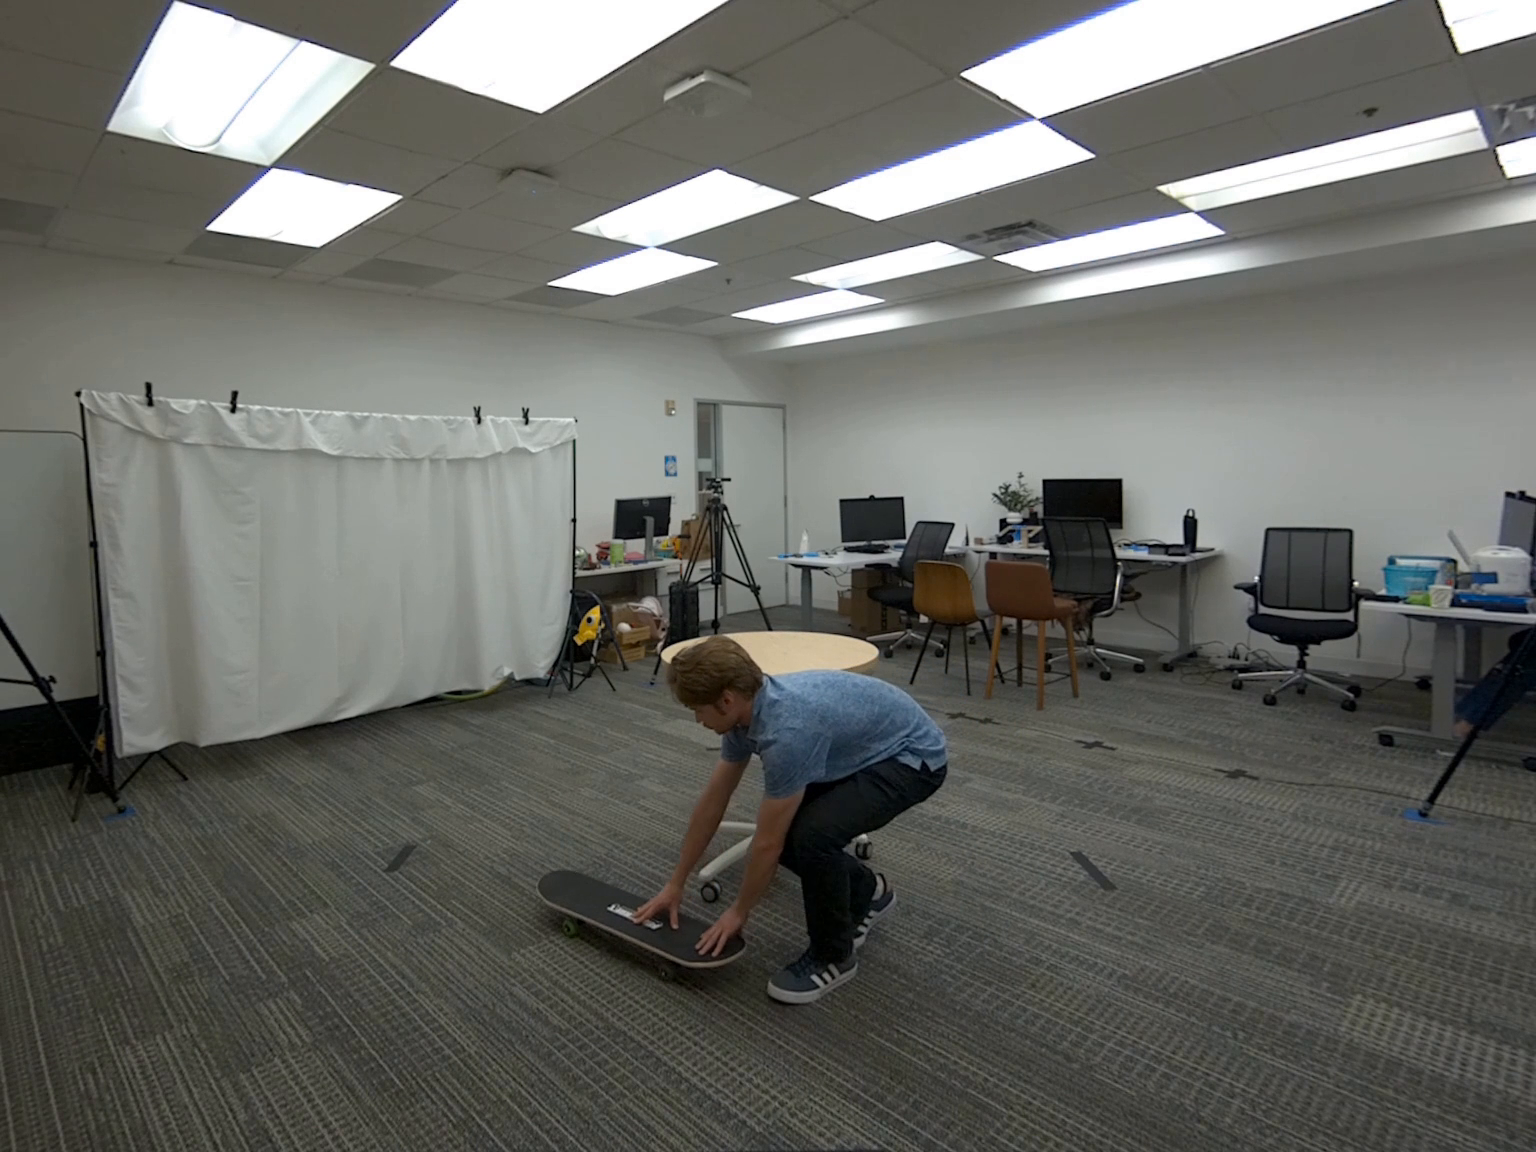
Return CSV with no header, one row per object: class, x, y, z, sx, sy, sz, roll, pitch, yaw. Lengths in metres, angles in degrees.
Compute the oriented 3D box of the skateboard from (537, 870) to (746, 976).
skateboard,-0.399,1.060,2.569,0.809,0.110,0.189,5,8,37
